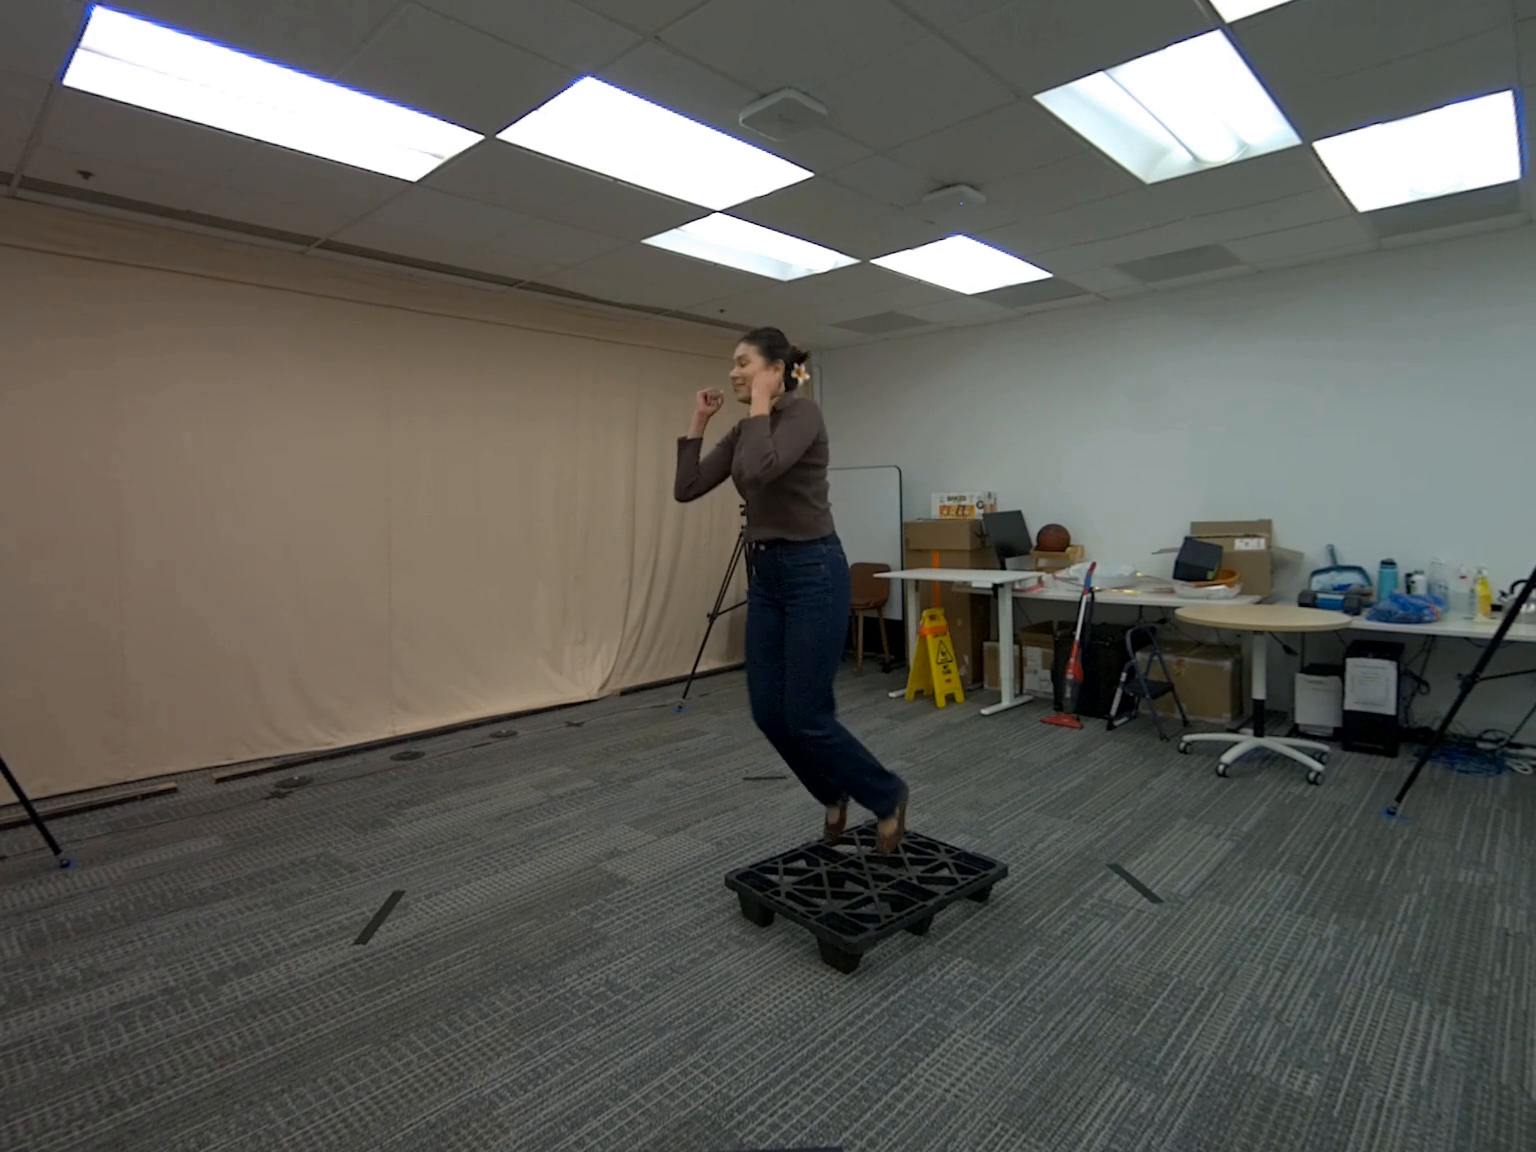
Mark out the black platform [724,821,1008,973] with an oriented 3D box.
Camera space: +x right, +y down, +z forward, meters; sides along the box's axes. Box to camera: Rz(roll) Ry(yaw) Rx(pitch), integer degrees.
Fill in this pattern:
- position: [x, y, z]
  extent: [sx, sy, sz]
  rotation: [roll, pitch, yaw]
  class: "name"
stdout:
- position: [0.340, 1.076, 2.887]
  extent: [0.781, 0.143, 0.625]
  rotation: [-5, 6, -40]
  class: "black platform"
